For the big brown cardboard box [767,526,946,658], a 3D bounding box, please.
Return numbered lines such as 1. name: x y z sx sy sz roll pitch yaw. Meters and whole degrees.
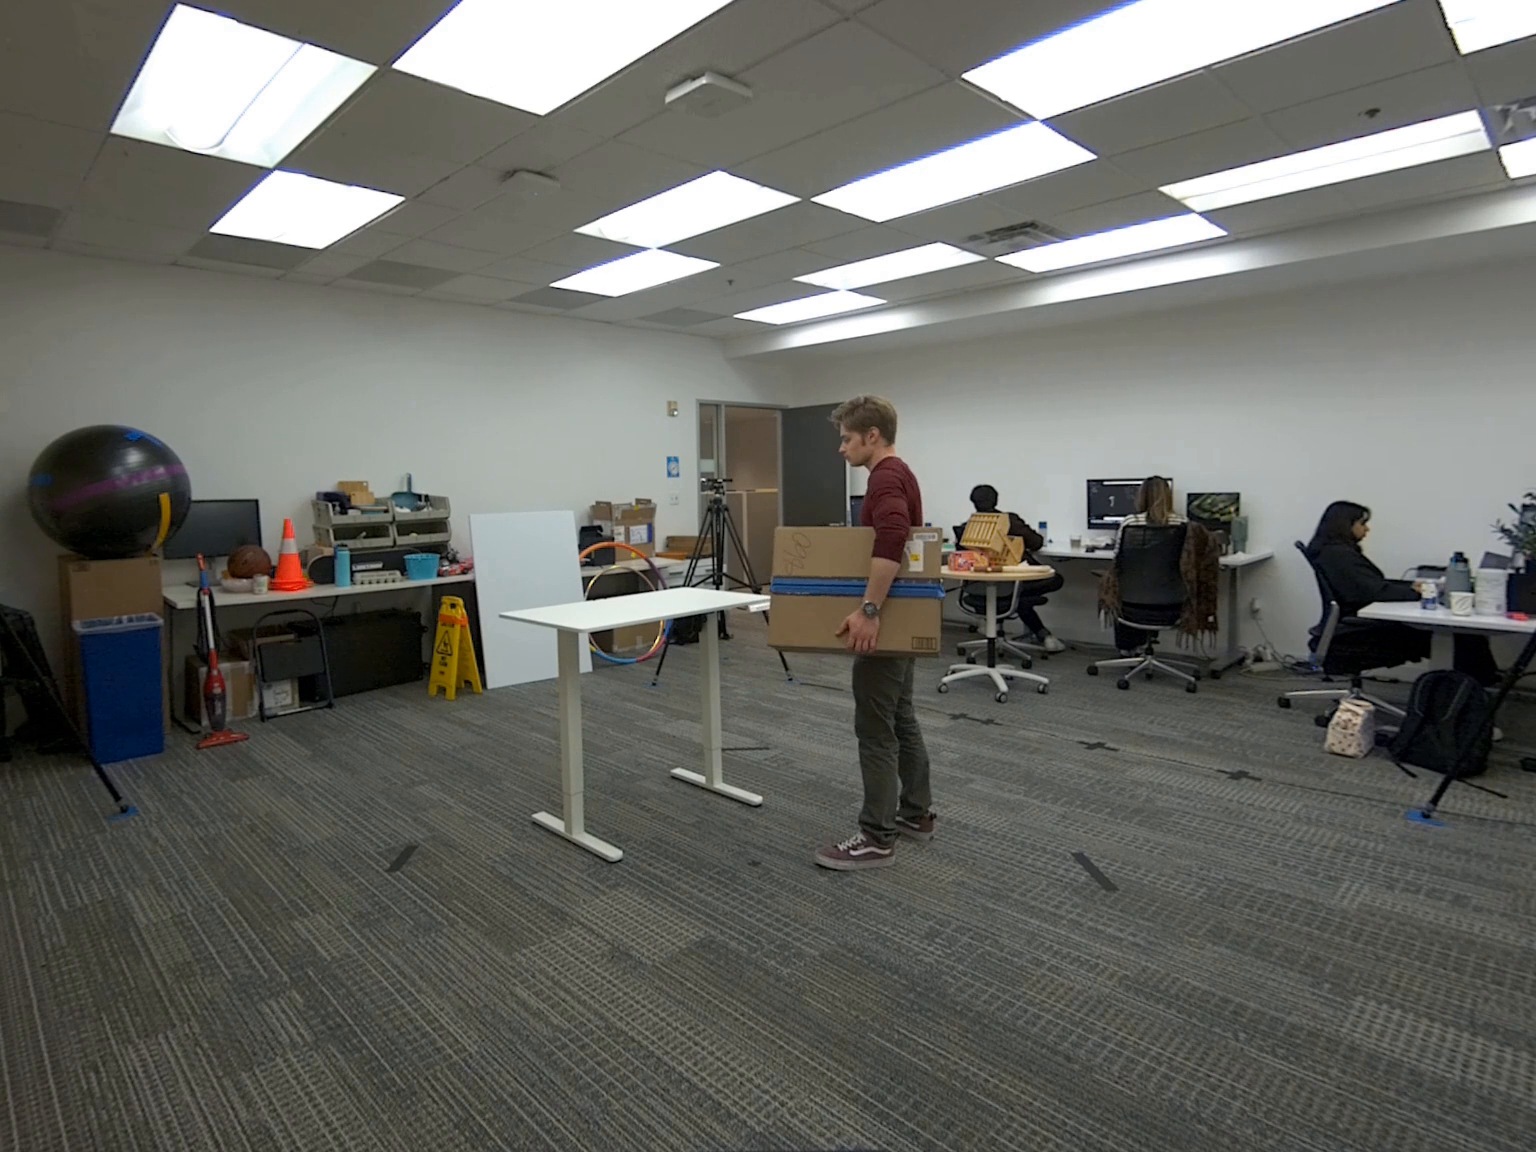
1. big brown cardboard box: 0.306 0.057 2.956 0.598 0.422 0.227 1 -12 16
